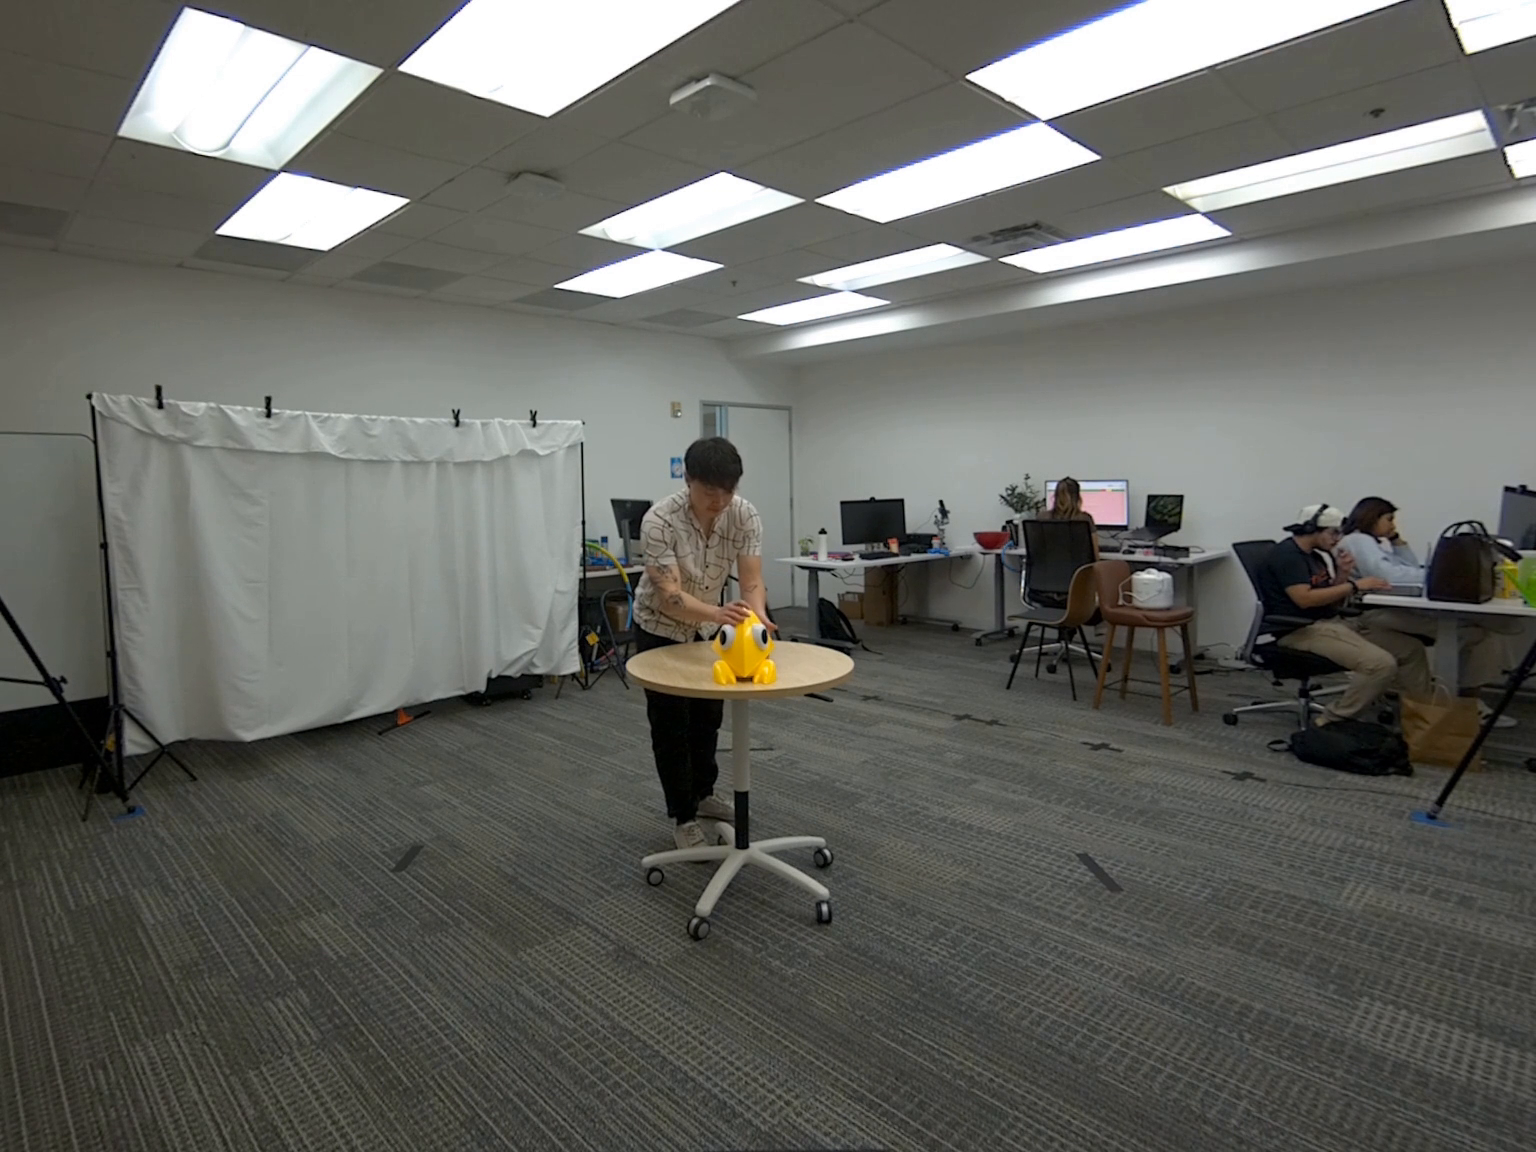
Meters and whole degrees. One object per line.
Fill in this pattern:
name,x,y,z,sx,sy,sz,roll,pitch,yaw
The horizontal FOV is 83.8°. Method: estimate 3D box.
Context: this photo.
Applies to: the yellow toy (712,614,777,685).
yellow toy,-0.073,0.200,2.660,0.204,0.230,0.193,0,2,-2
